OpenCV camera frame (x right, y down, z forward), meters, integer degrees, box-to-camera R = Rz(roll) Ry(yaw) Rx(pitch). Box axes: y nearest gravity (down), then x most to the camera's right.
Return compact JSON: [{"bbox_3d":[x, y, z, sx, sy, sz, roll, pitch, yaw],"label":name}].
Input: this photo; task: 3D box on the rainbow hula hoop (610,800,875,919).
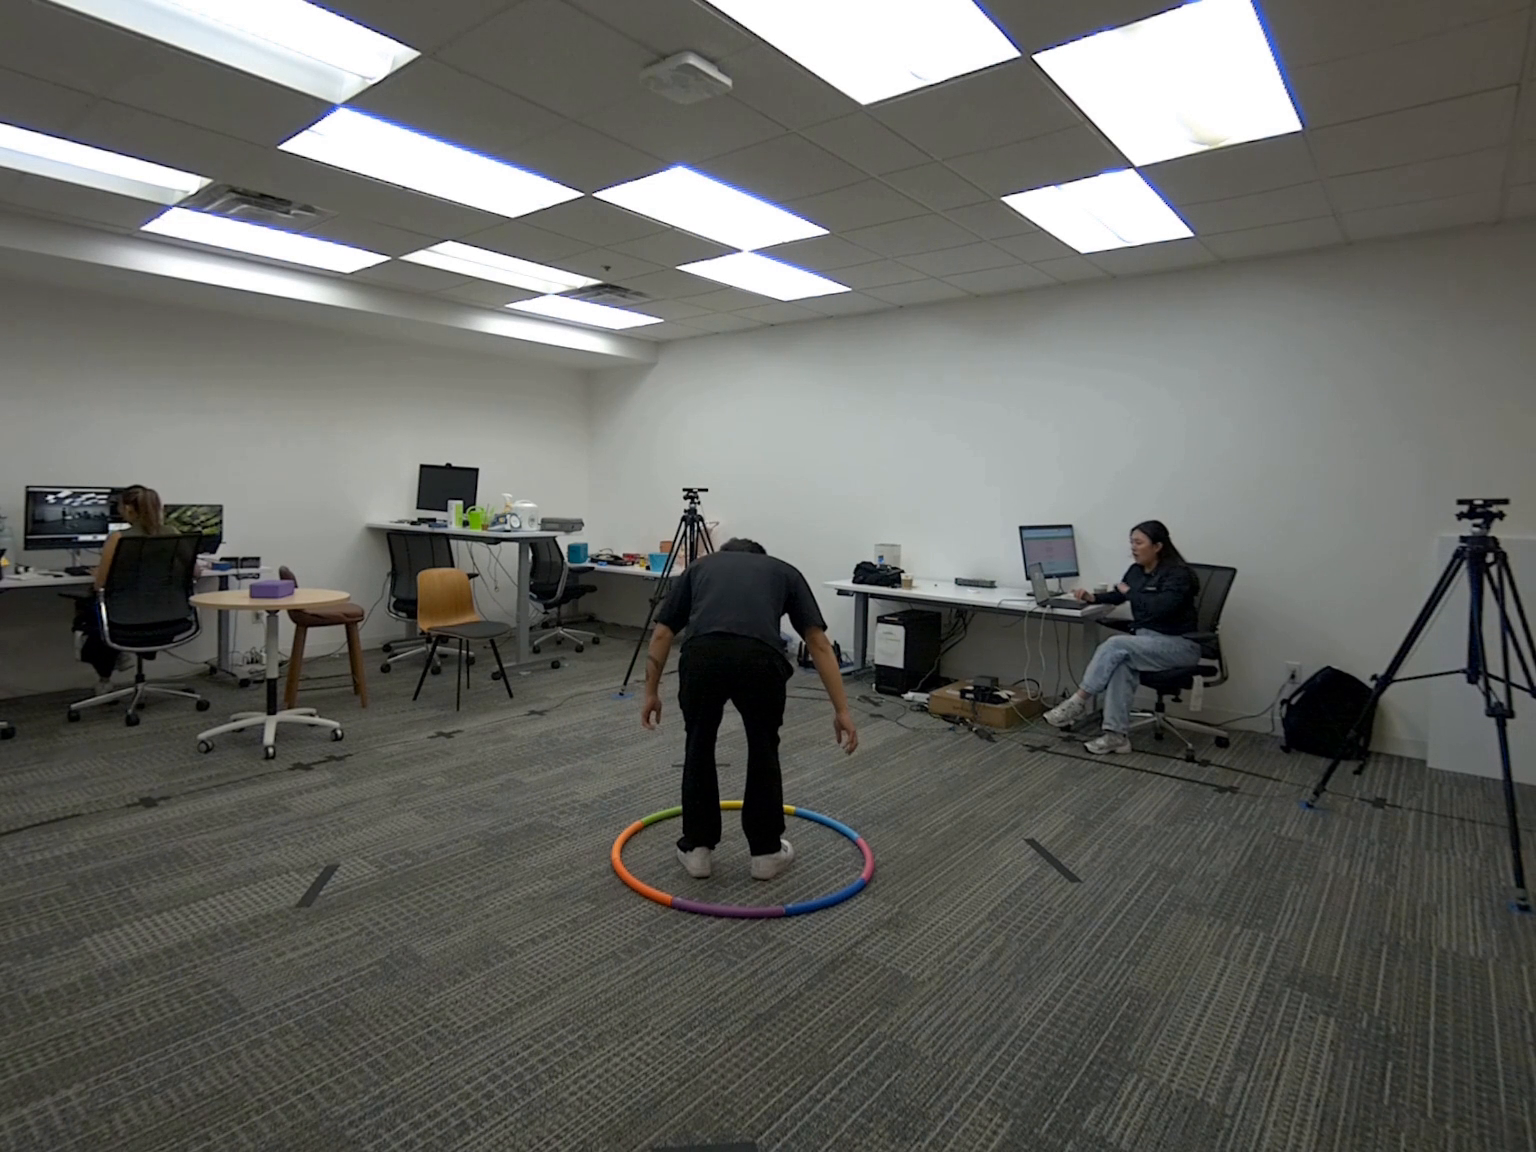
[{"bbox_3d":[-0.107,1.032,3.232,0.978,0.035,0.984,1,6,-2],"label":"rainbow hula hoop"}]
